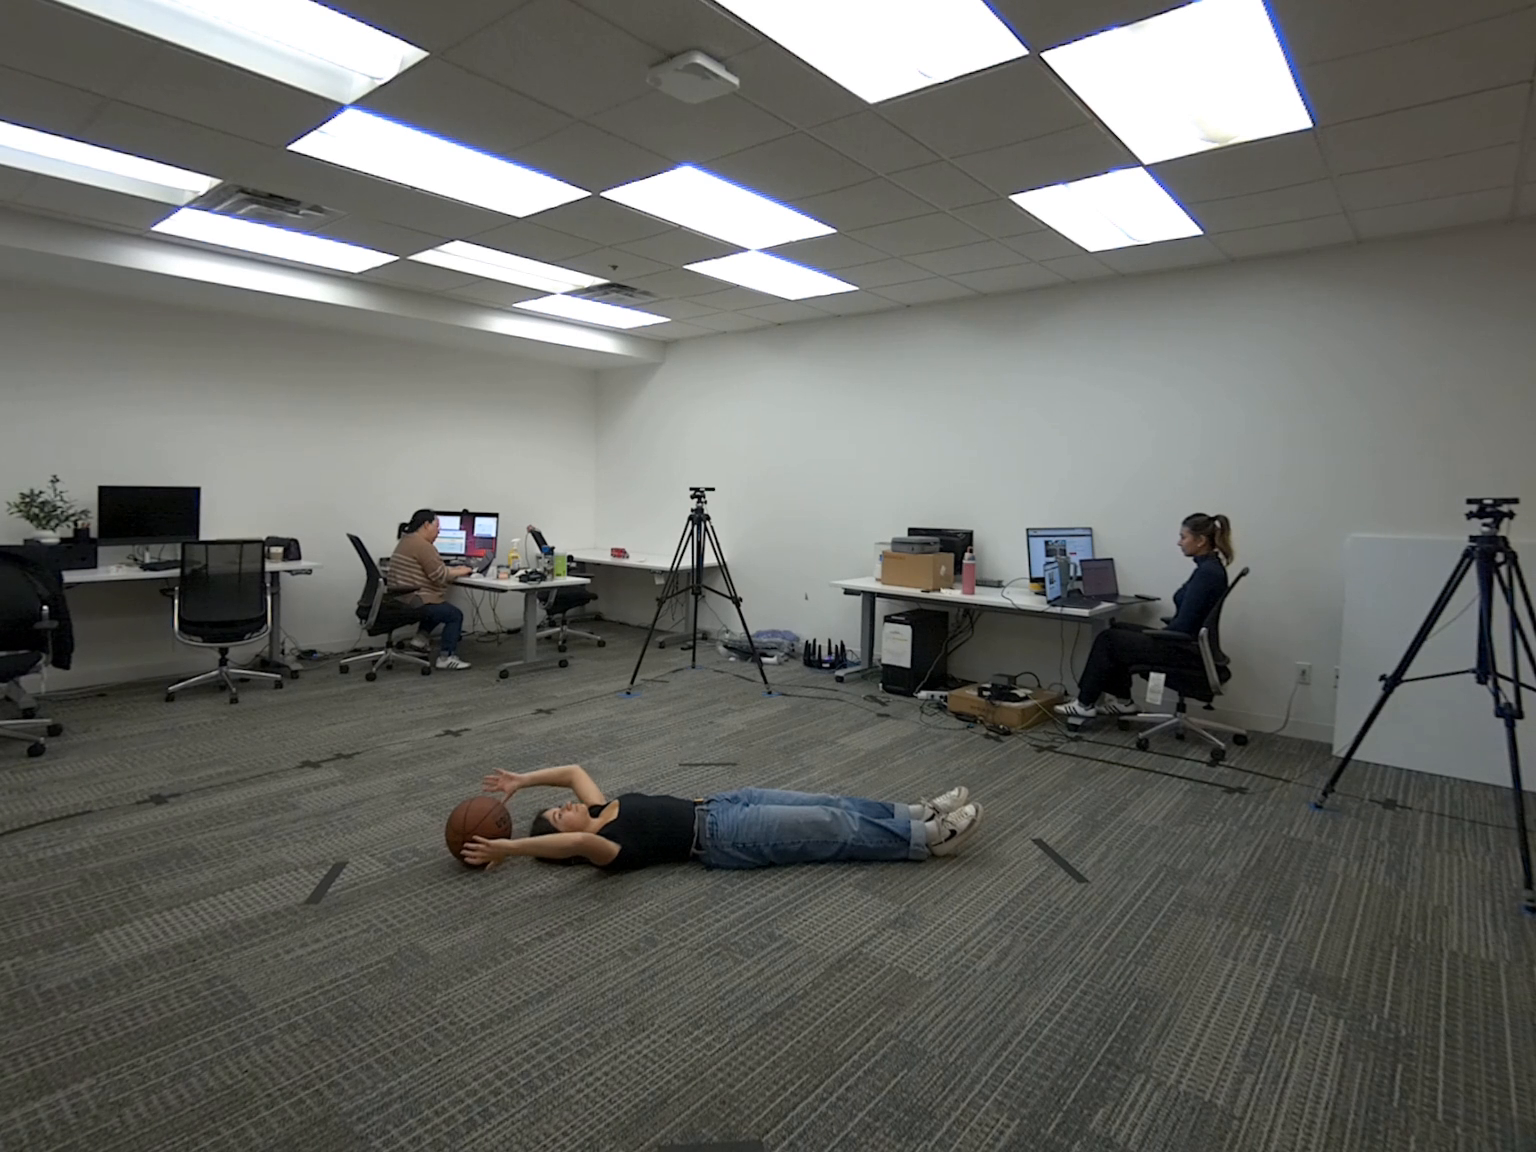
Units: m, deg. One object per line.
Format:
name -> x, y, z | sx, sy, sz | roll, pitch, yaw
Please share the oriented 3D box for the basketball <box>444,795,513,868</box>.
basketball -> -1.077, 0.929, 3.122 | 0.235, 0.235, 0.237 | 1, 4, -2
